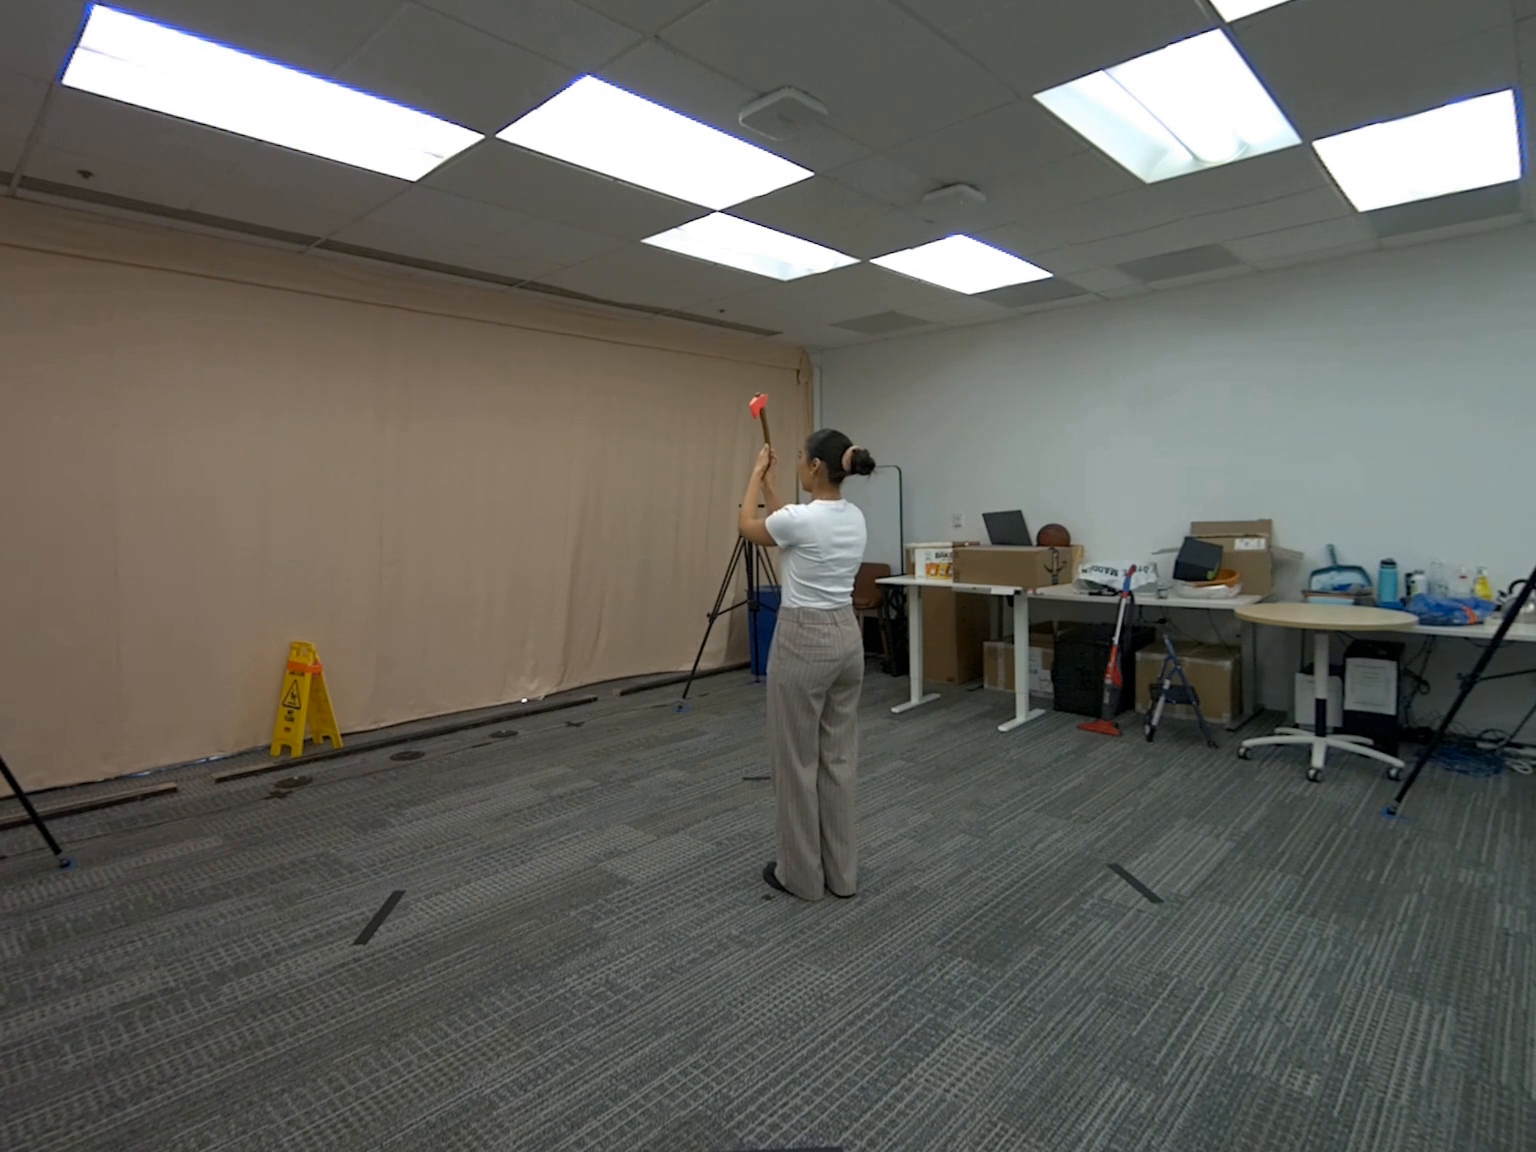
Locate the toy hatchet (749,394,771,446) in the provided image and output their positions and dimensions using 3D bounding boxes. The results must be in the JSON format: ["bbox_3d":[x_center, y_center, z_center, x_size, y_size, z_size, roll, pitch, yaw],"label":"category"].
[{"bbox_3d":[-0.024,-0.554,3.165,0.030,0.269,0.128,-1,6,31],"label":"toy hatchet"}]
